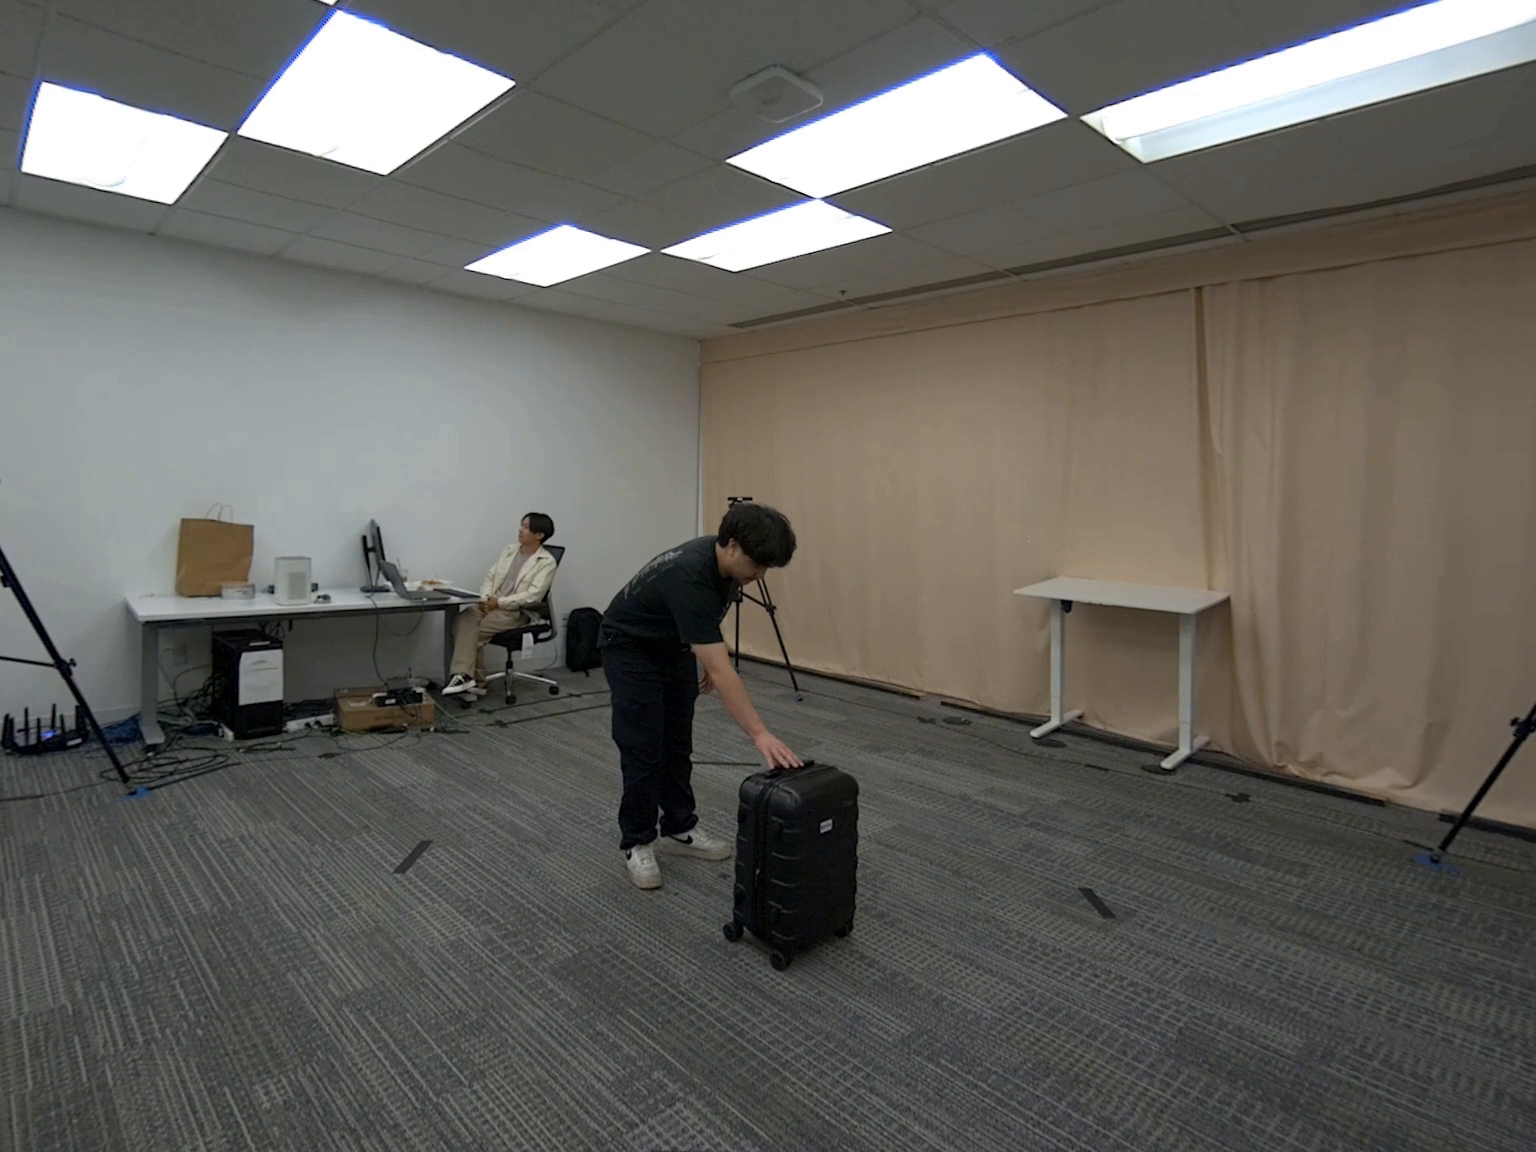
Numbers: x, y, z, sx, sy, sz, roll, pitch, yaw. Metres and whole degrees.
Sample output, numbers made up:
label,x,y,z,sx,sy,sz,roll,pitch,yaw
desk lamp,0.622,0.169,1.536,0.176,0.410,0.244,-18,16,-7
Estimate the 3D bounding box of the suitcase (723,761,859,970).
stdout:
label,x,y,z,sx,sy,sz,roll,pitch,yaw
suitcase,0.085,0.879,2.654,0.367,0.547,0.255,-2,7,-44
